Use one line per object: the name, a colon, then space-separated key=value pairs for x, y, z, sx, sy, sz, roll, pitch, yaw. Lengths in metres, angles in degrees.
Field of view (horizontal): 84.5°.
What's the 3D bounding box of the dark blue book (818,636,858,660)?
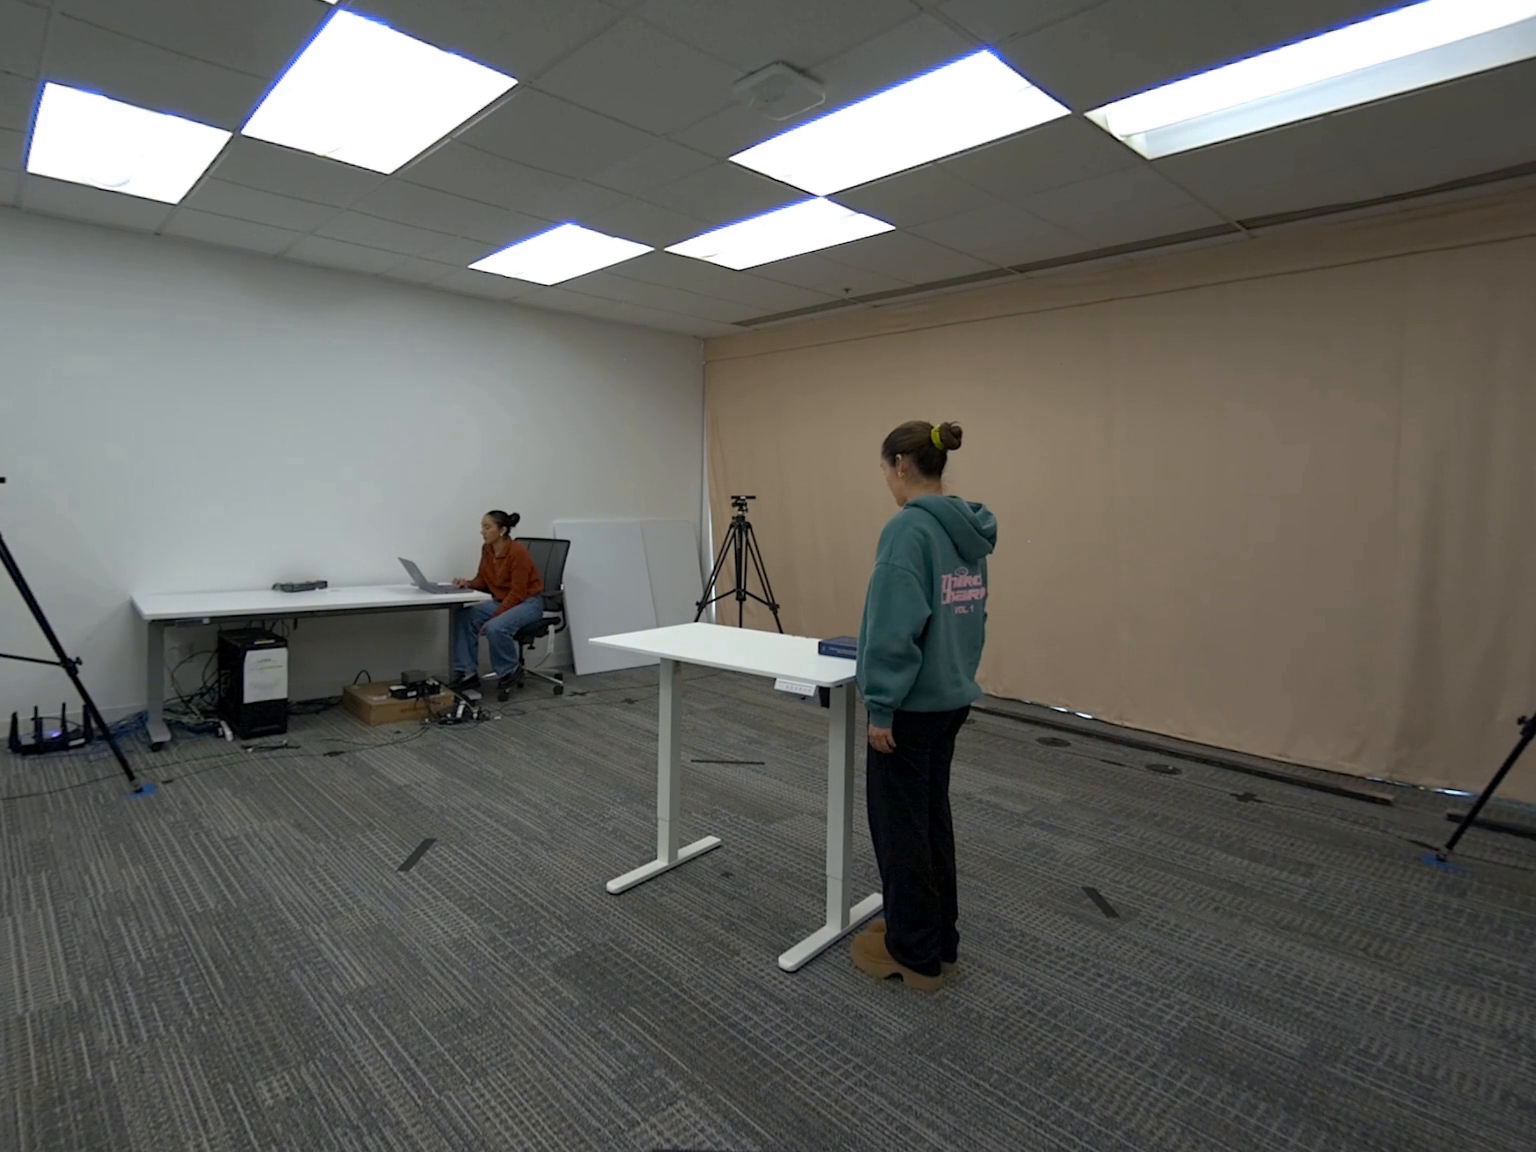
dark blue book: x=0.311 y=0.244 z=2.743 sx=0.251 sy=0.045 sz=0.160 roll=5 pitch=7 yaw=33
